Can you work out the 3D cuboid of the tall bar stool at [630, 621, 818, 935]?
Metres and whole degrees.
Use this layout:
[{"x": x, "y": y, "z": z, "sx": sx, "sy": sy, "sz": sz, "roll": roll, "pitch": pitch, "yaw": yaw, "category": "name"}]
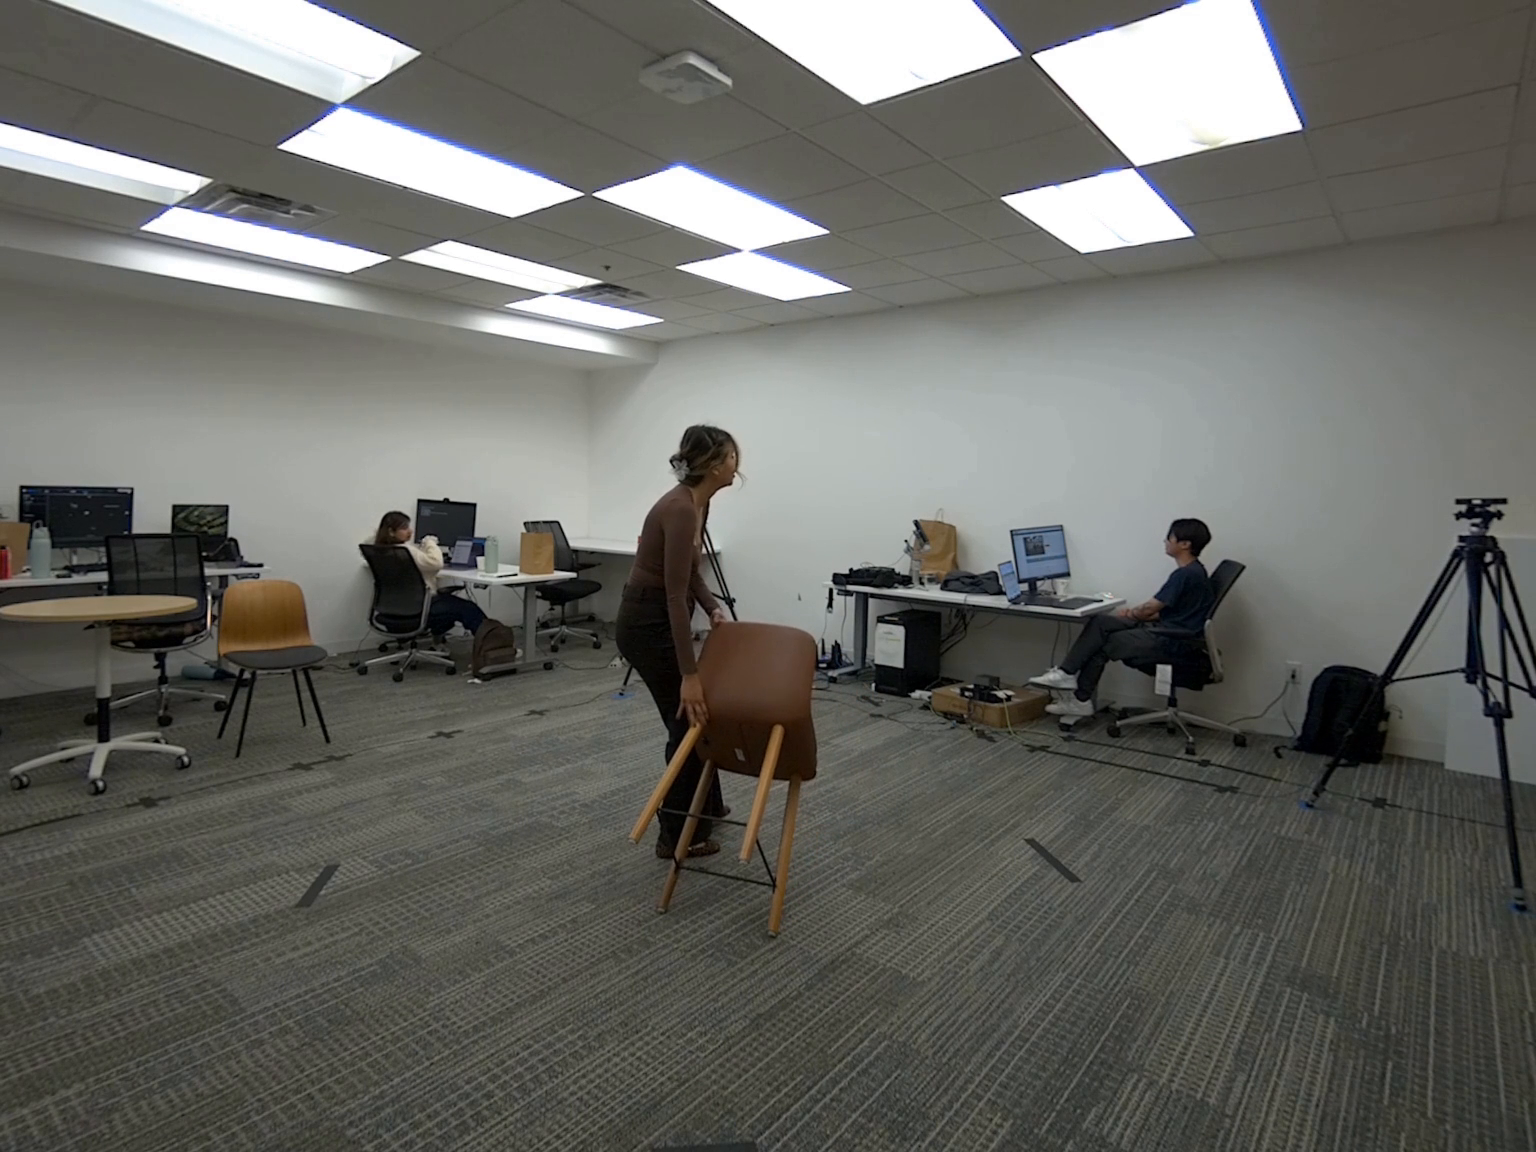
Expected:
[{"x": -0.099, "y": 0.642, "z": 2.876, "sx": 0.465, "sy": 0.451, "sz": 0.904, "roll": 2, "pitch": 45, "yaw": 17, "category": "tall bar stool"}]
